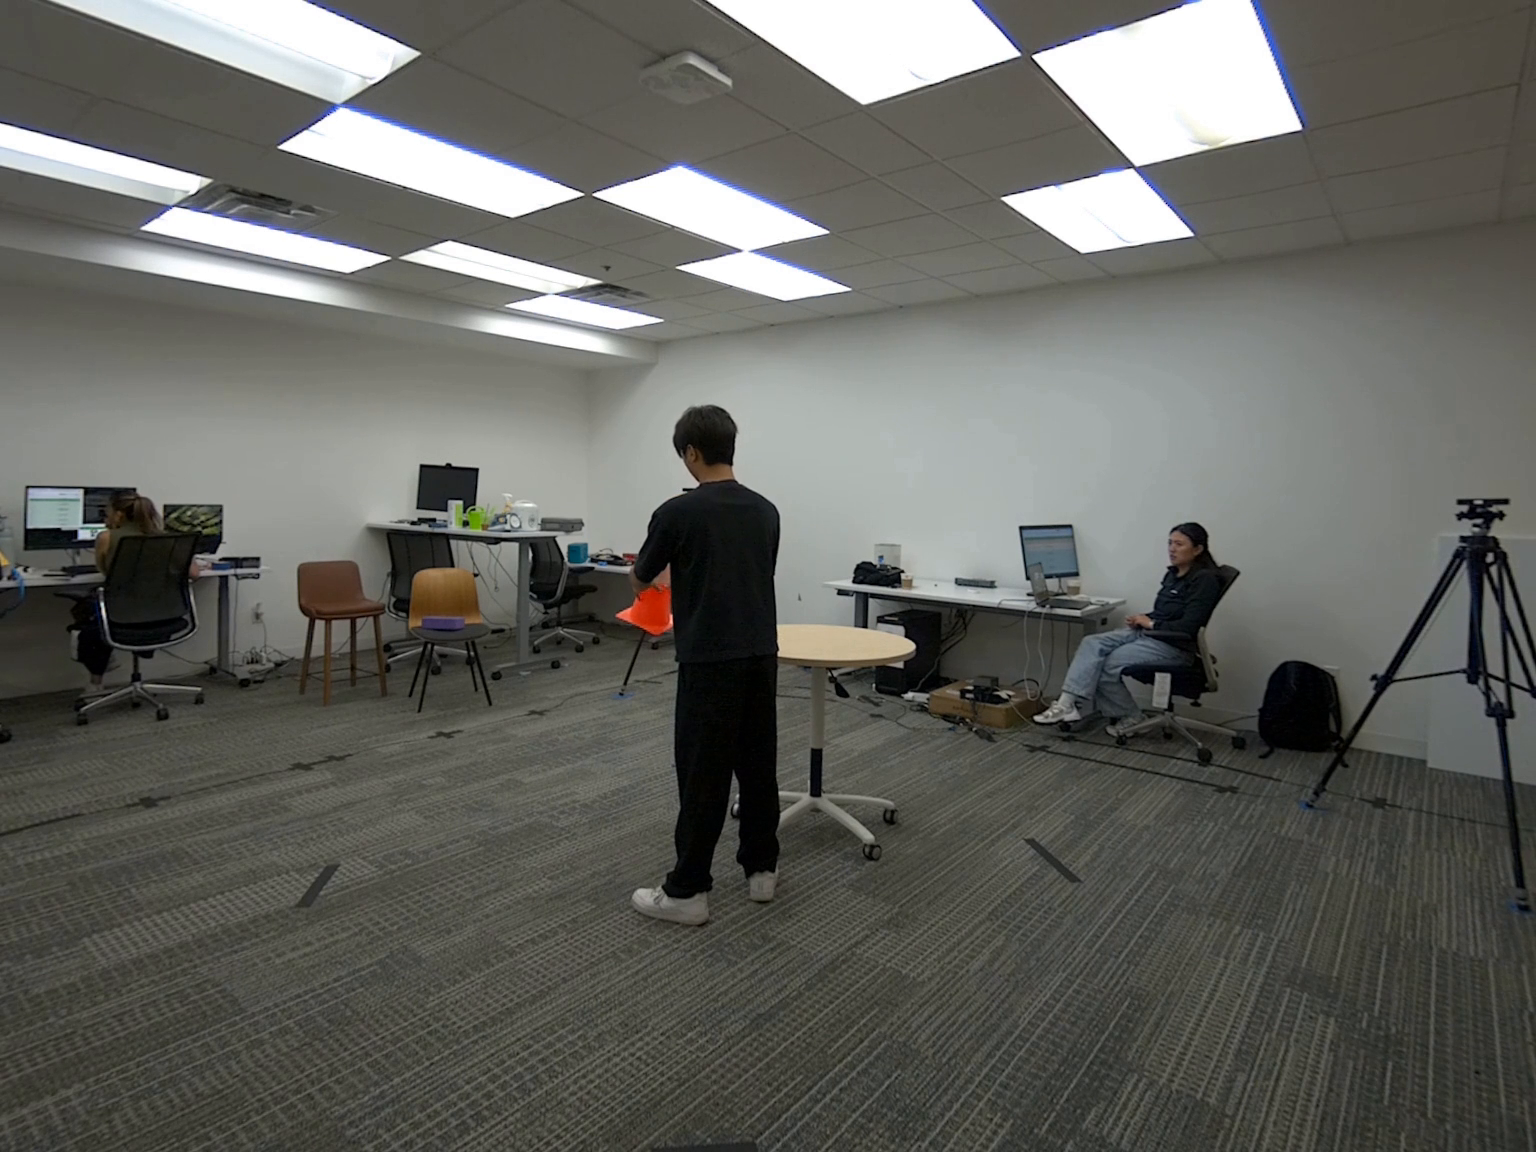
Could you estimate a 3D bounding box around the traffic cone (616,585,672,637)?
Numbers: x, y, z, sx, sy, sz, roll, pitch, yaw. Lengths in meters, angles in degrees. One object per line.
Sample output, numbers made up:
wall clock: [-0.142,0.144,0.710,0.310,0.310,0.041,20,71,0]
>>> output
traffic cone: [-0.424,-0.007,3.243,0.211,0.379,0.200,21,20,21]
